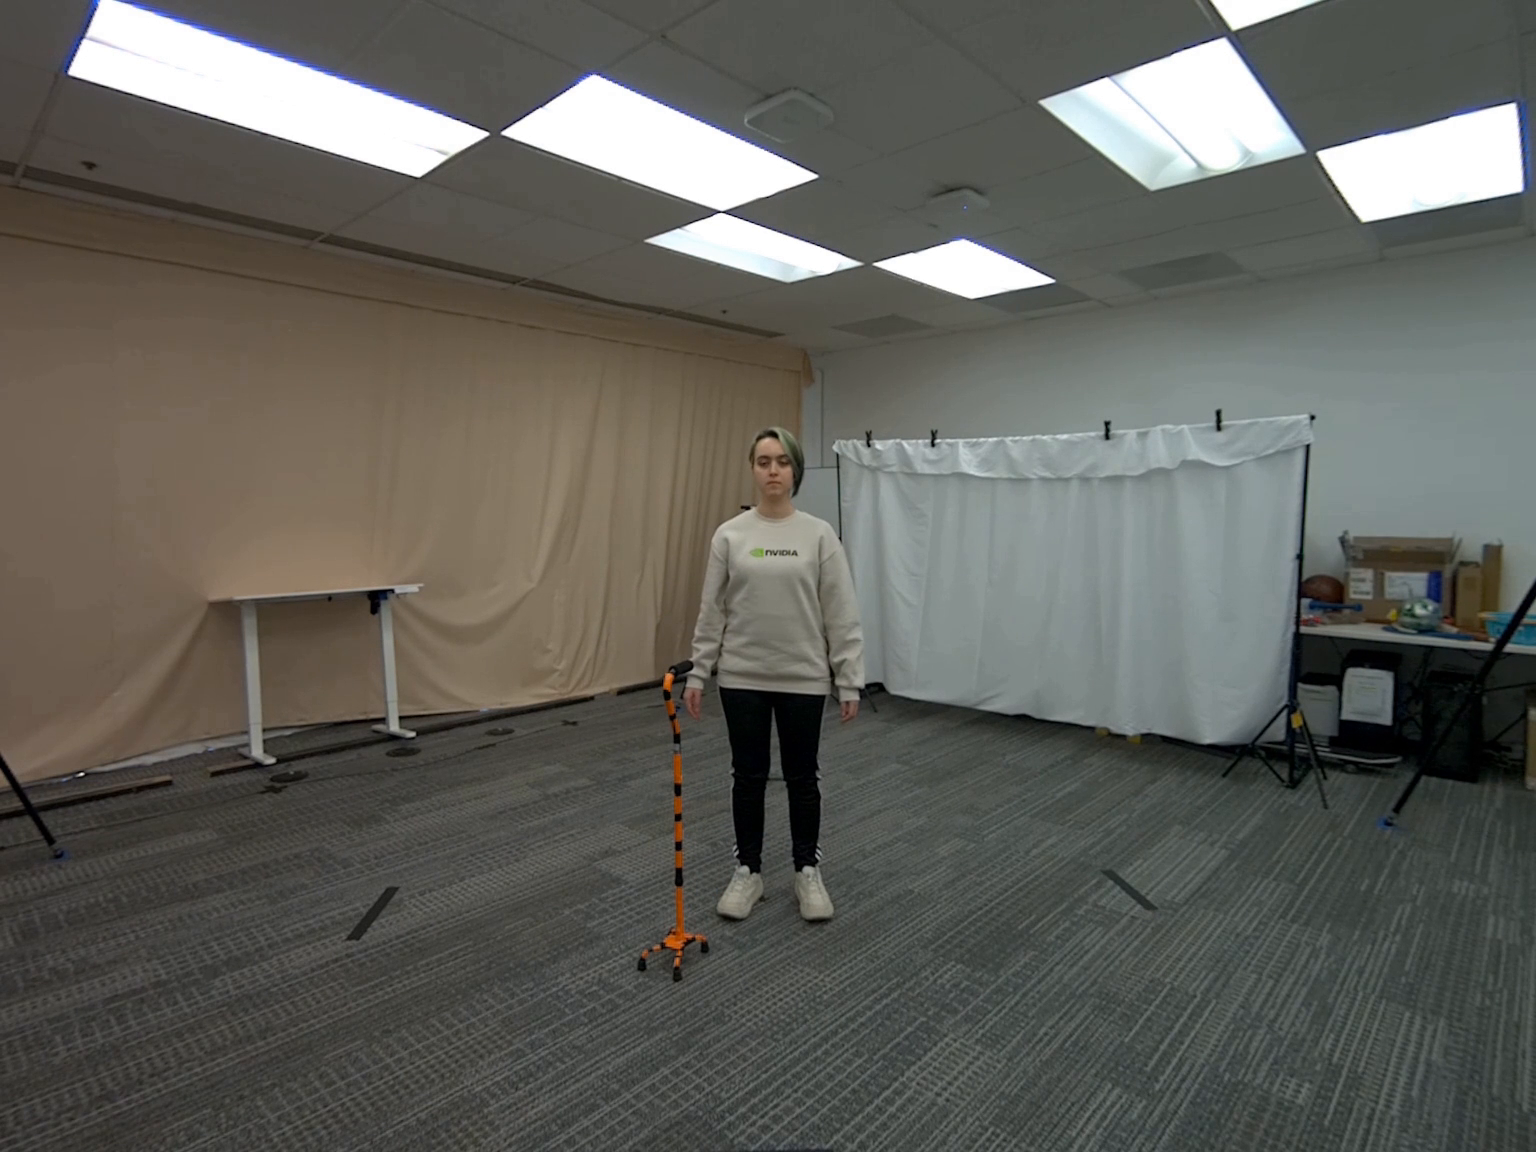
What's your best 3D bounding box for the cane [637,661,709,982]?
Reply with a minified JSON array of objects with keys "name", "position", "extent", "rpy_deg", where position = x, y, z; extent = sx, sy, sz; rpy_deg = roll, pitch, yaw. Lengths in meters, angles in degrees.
[{"name":"cane","position":[-0.287,0.730,2.554],"extent":[0.155,0.906,0.202],"rpy_deg":[1,4,23]}]
